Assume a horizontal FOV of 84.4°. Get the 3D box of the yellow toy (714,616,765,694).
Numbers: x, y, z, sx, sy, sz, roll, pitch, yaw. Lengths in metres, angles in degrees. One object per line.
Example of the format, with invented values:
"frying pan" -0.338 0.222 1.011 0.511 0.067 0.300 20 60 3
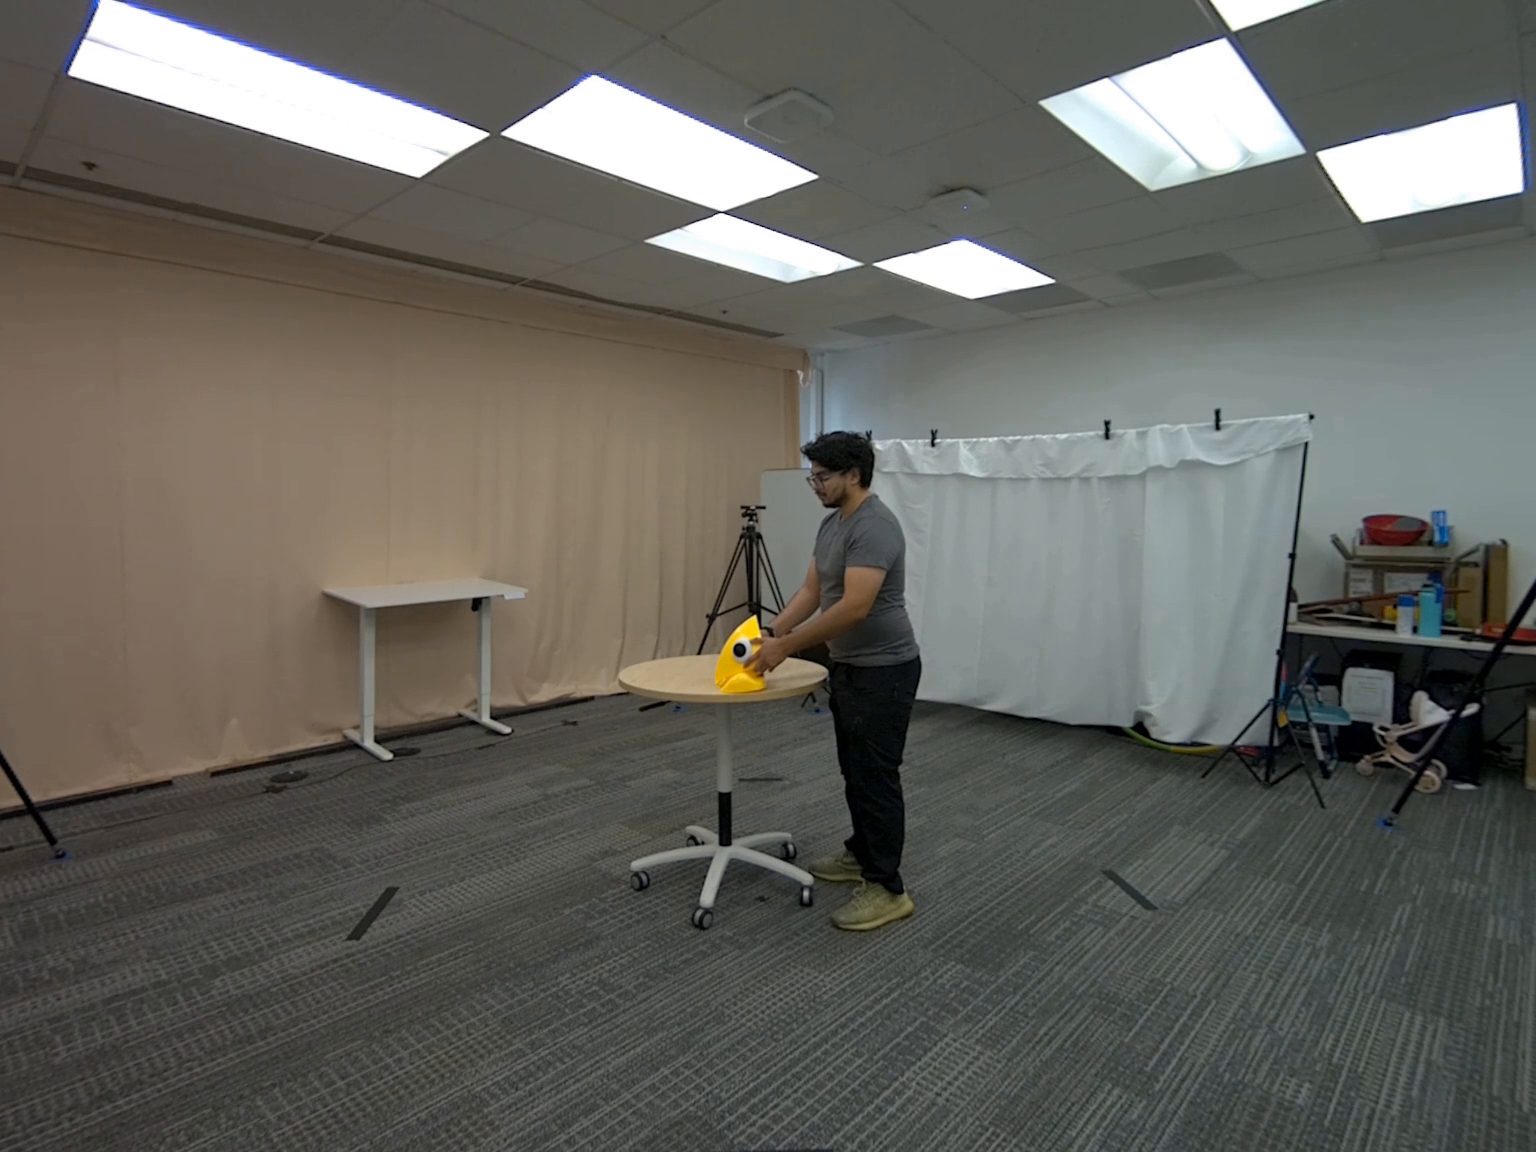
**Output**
"yellow toy" -0.085 0.253 2.812 0.191 0.230 0.207 -6 2 -10
